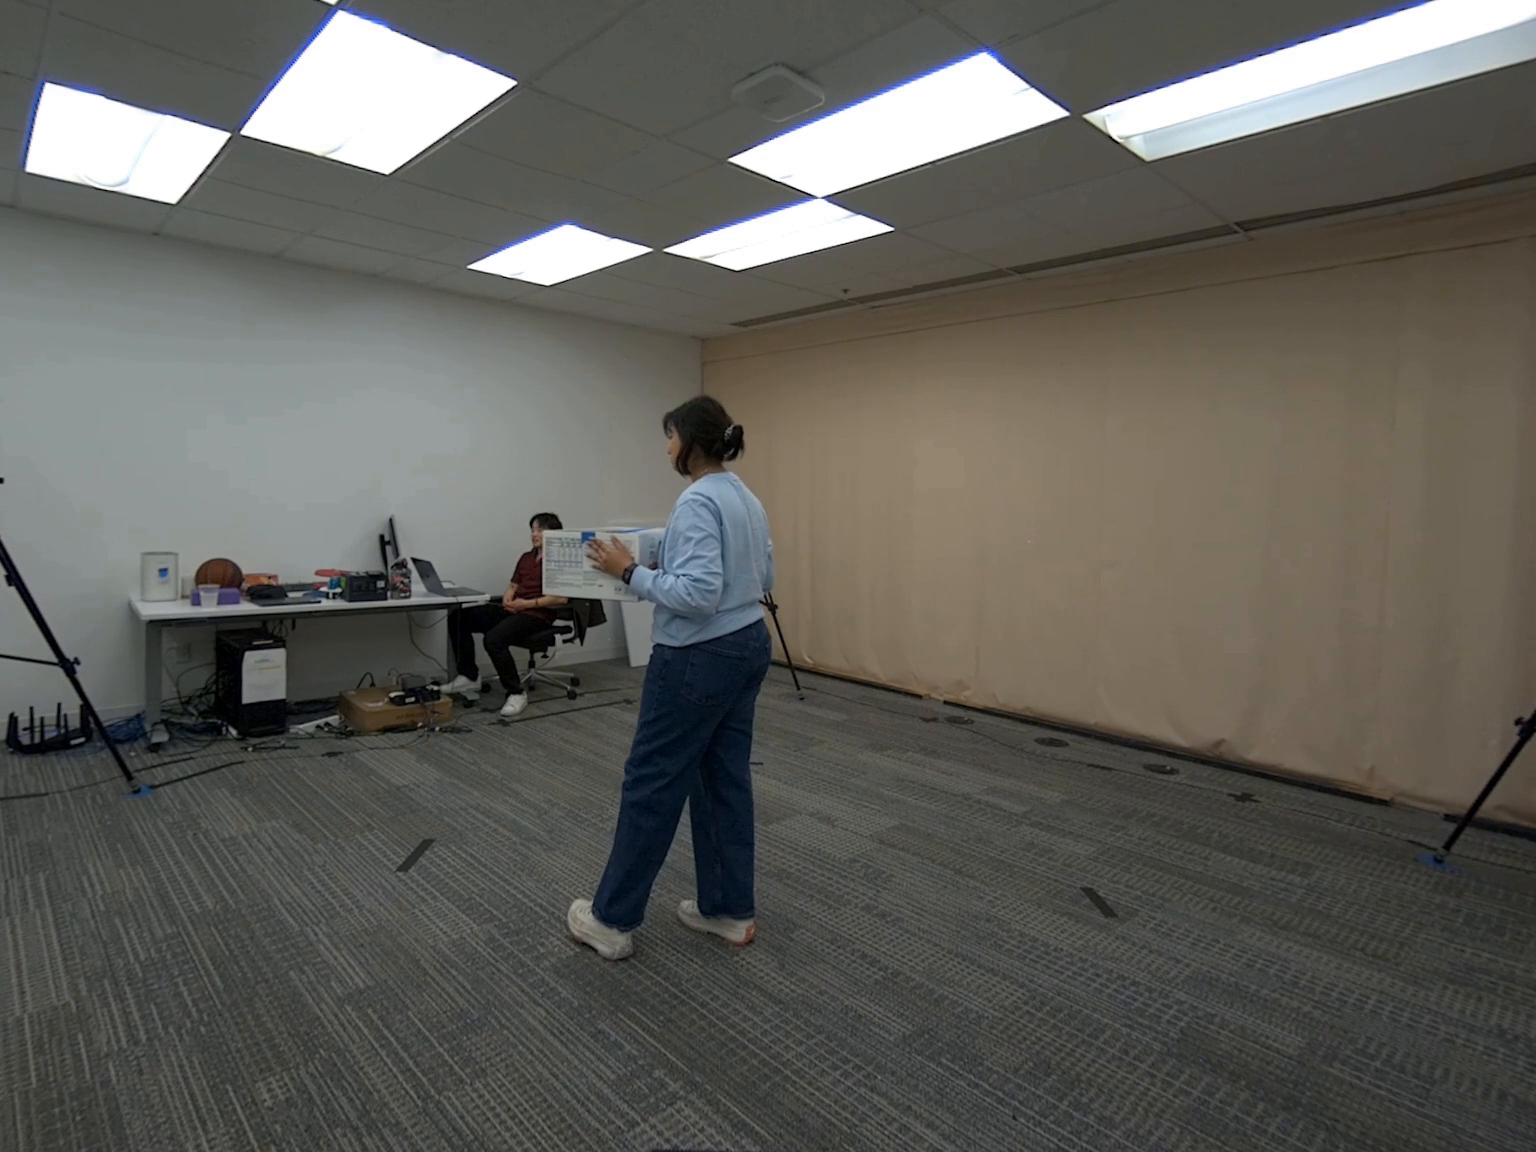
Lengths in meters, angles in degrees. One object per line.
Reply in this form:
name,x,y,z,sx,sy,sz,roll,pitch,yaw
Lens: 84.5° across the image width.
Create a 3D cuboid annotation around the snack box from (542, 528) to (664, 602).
snack box,-0.475,-0.047,2.716,0.346,0.205,0.399,3,6,22
